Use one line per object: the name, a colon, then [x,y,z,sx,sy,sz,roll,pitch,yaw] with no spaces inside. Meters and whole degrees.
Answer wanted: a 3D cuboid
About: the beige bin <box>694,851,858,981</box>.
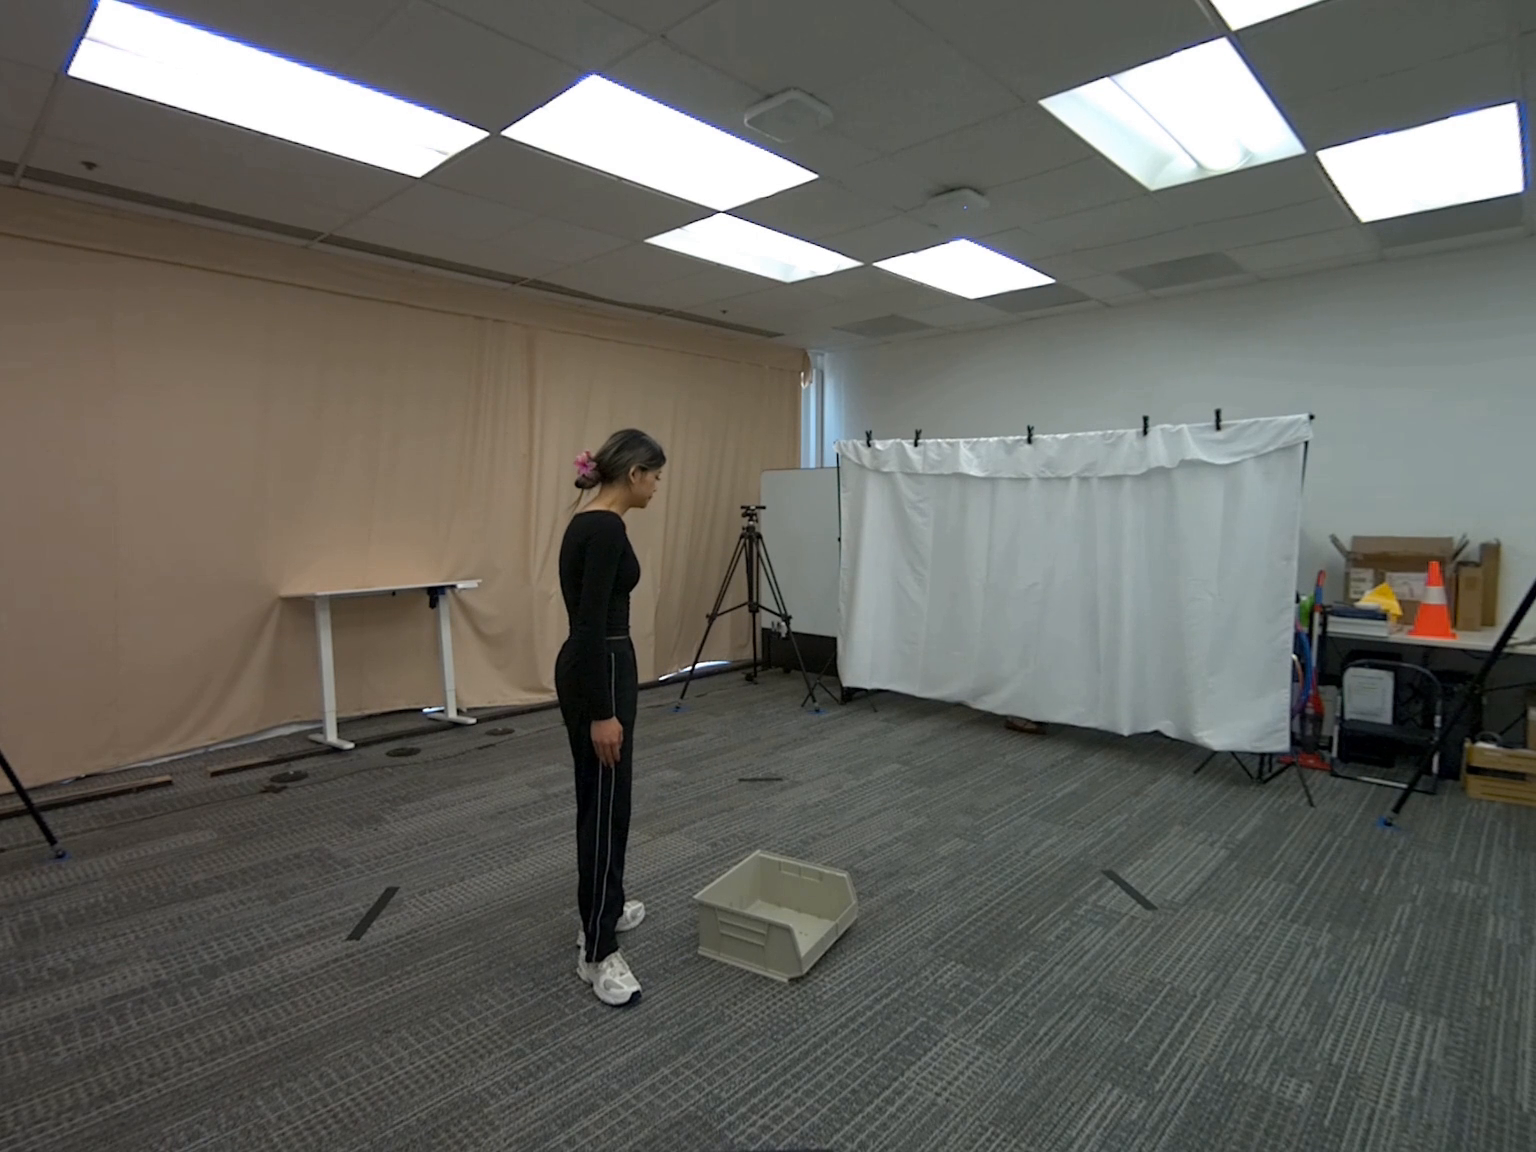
beige bin: [0.034,1.080,2.696,0.388,0.188,0.411,1,5,30]
